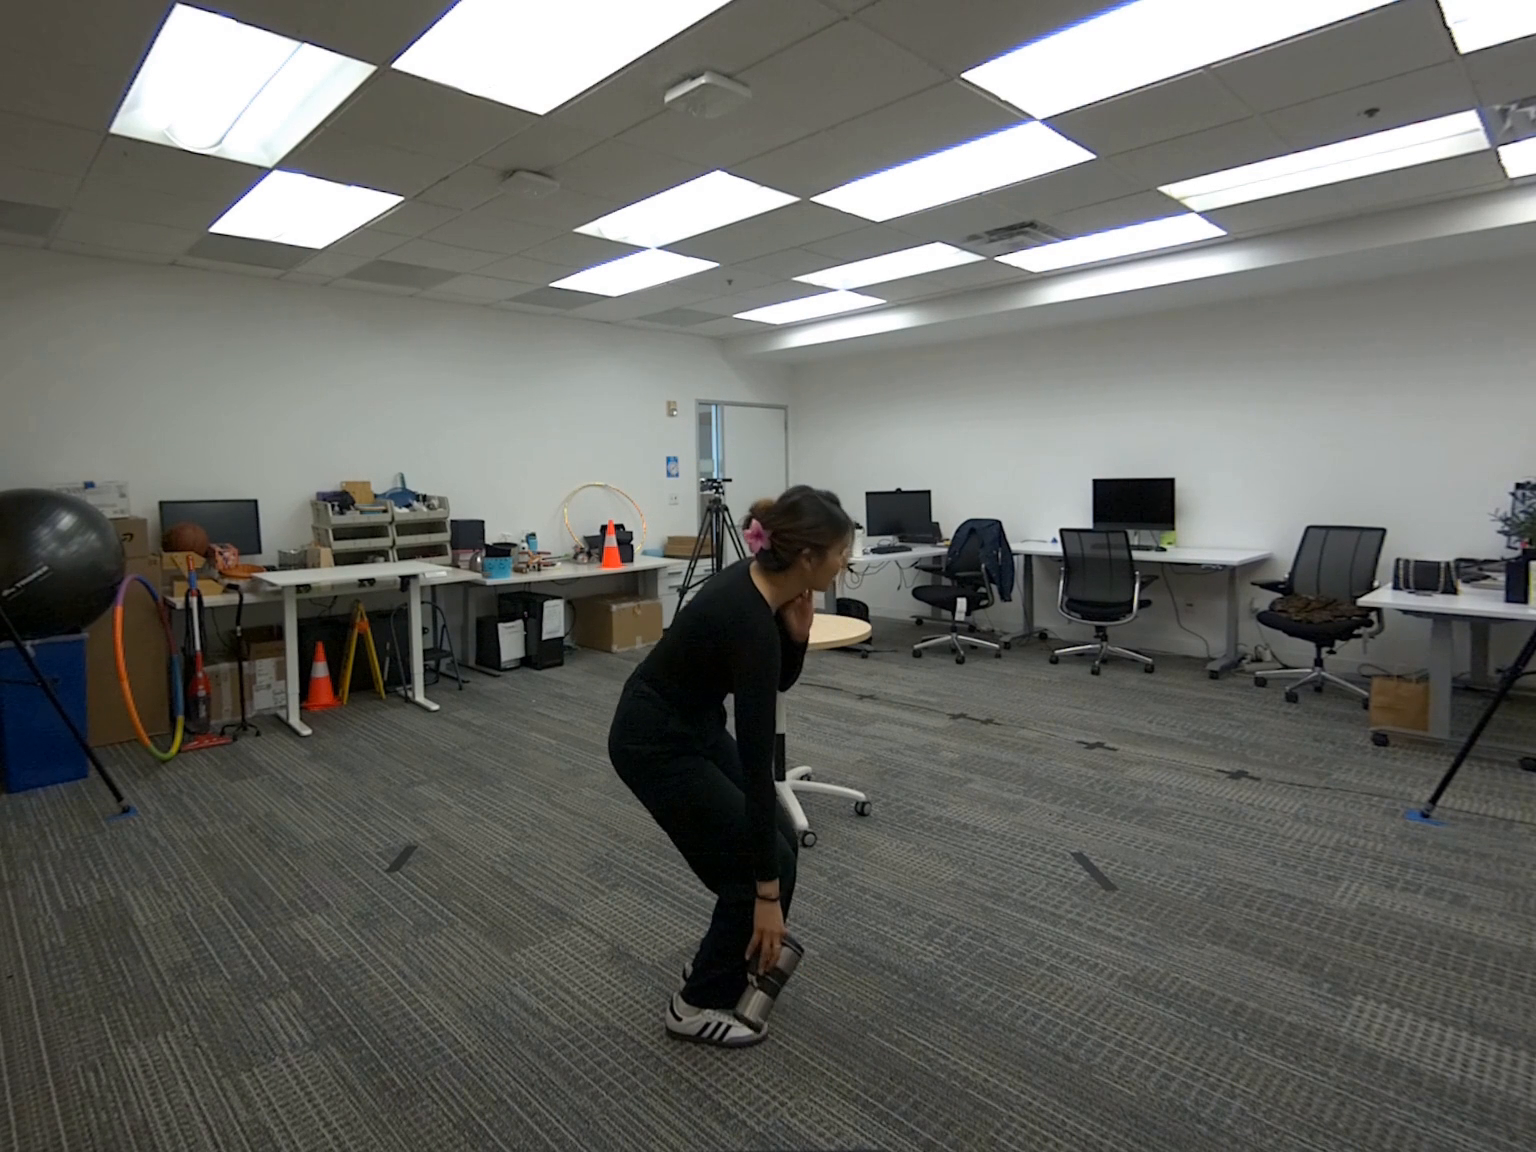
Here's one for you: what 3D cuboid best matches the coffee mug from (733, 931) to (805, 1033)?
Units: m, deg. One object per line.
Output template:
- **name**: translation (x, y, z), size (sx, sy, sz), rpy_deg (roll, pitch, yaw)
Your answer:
- **coffee mug**: translation (-0.007, 0.900, 1.904), size (0.090, 0.118, 0.204), rpy_deg (2, 48, 46)
